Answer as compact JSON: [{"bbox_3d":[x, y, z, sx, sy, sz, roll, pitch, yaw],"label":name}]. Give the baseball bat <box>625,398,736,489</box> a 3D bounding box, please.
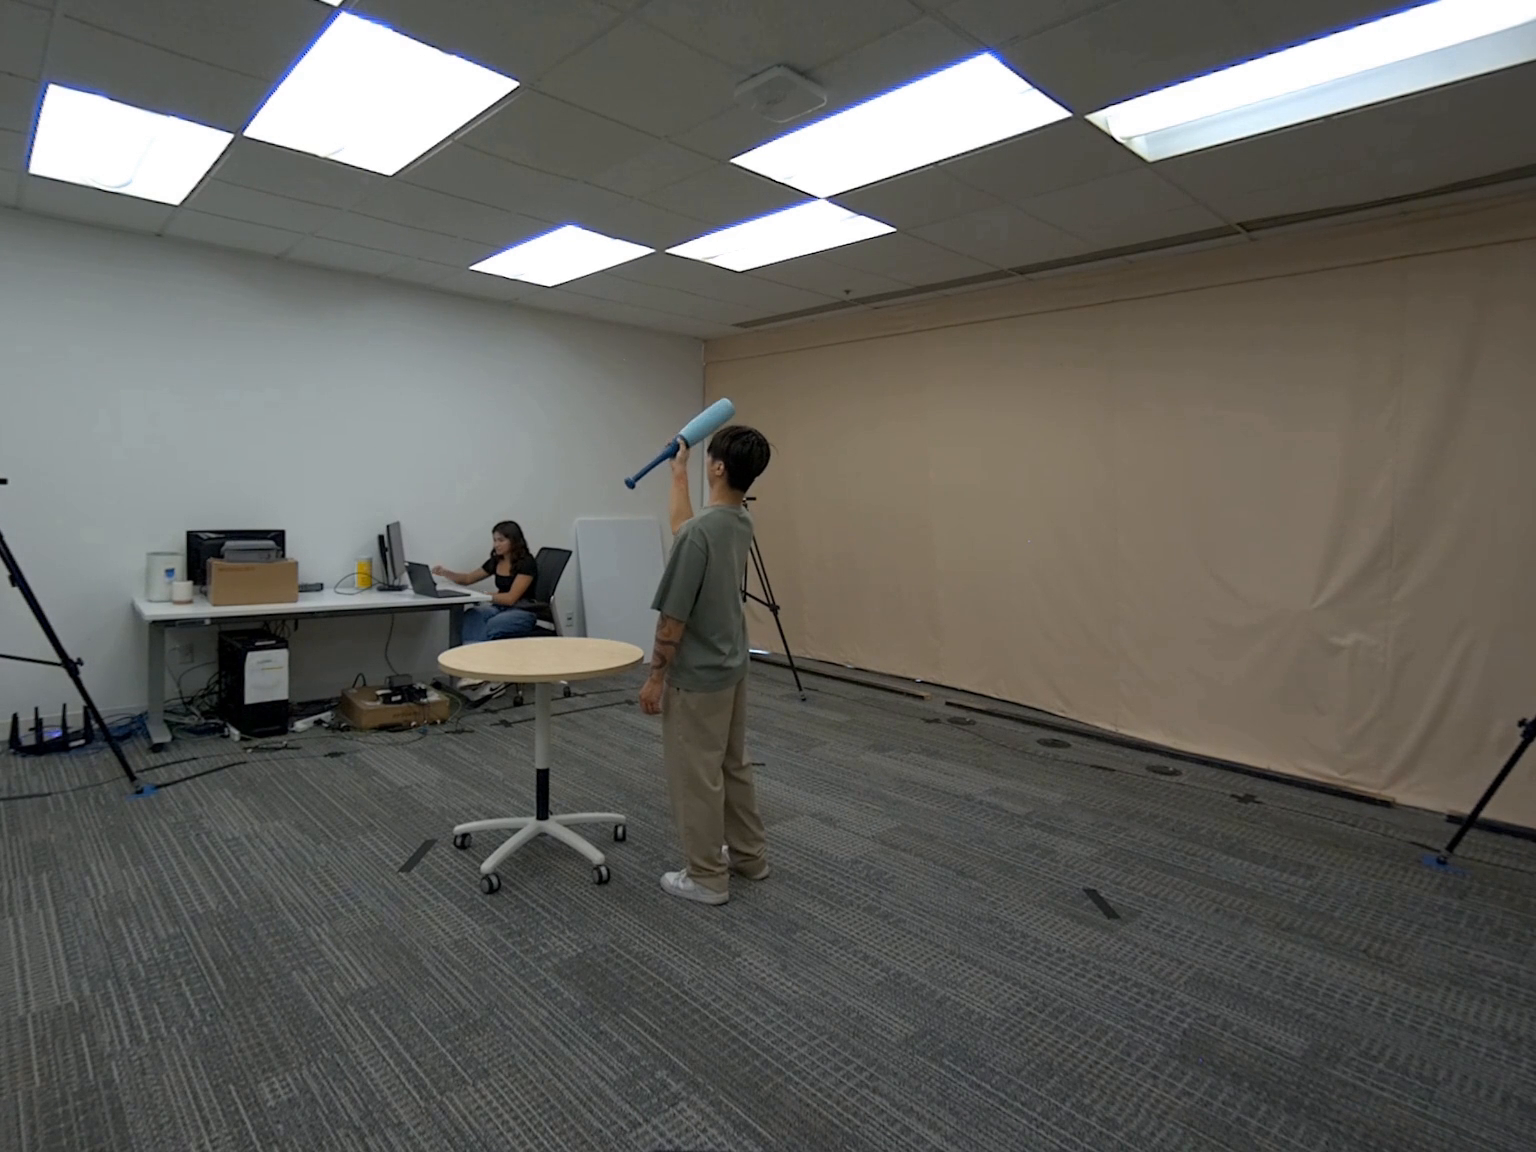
[{"bbox_3d":[-0.369,-0.511,3.281,0.542,0.087,0.091,-42,22,-19],"label":"baseball bat"}]
